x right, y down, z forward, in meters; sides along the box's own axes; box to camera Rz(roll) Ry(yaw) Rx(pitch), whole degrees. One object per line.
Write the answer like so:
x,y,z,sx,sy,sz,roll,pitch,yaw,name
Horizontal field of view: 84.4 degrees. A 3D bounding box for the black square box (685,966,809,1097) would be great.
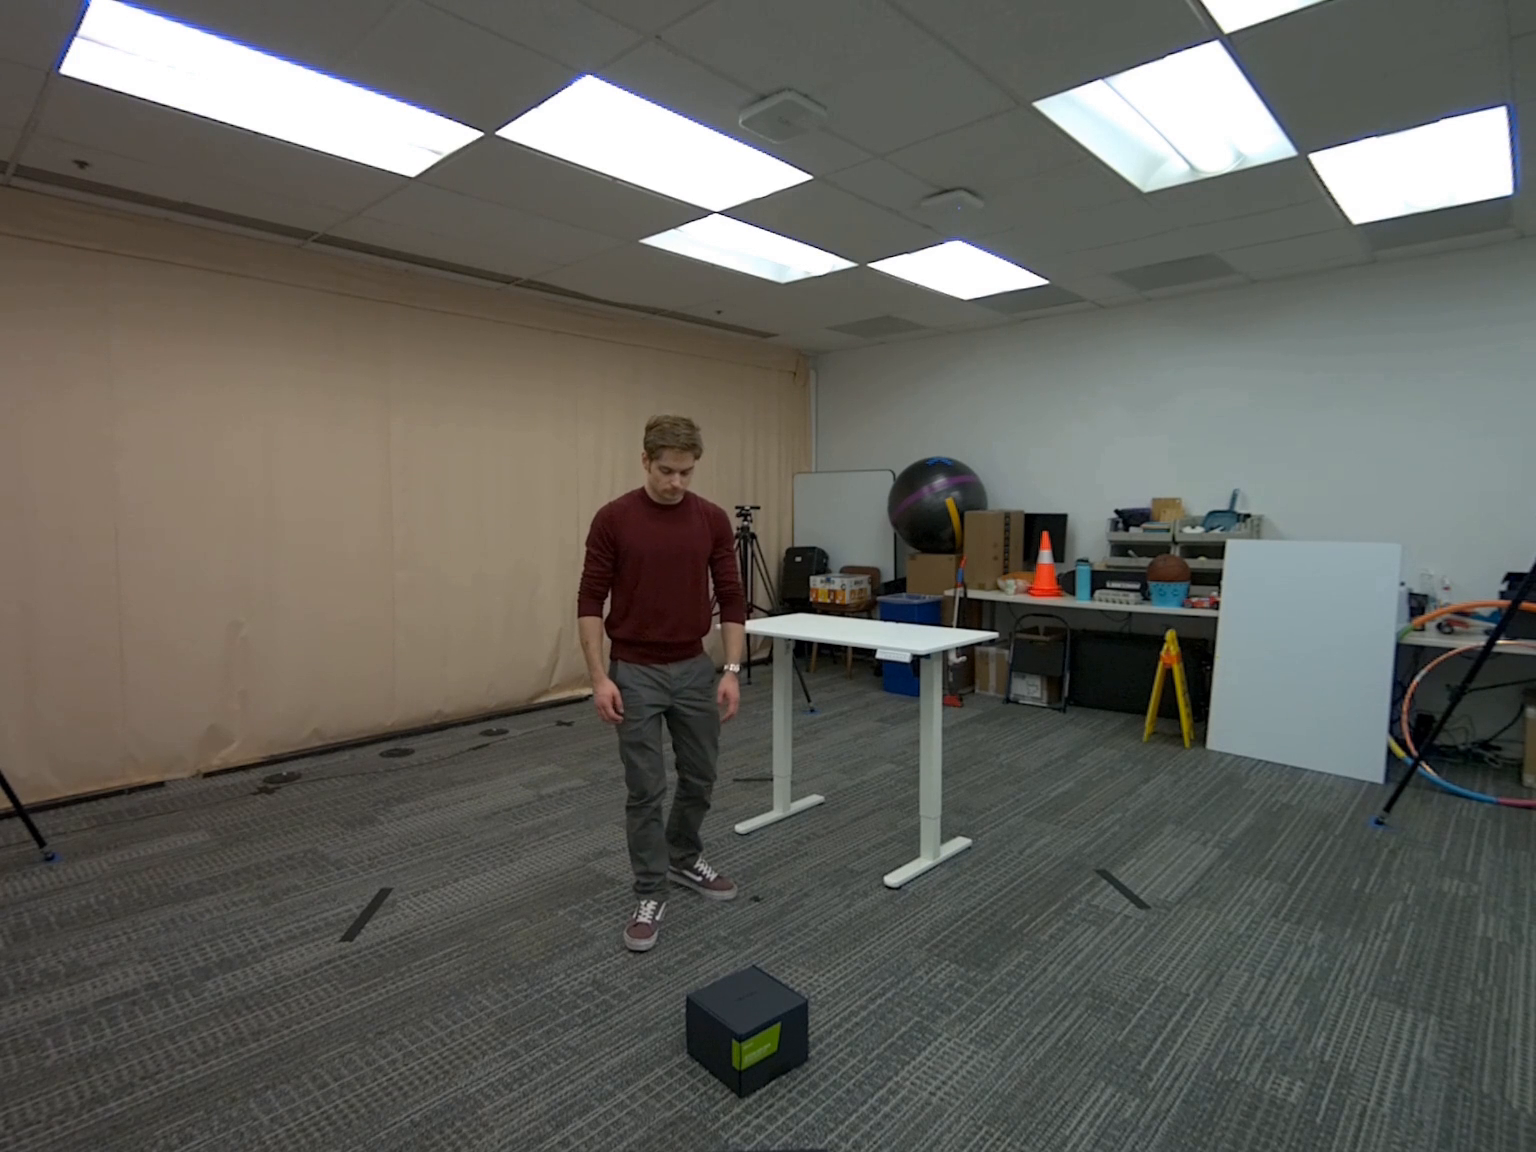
-0.047,1.134,2.120,0.221,0.155,0.224,-3,6,-41,black square box
